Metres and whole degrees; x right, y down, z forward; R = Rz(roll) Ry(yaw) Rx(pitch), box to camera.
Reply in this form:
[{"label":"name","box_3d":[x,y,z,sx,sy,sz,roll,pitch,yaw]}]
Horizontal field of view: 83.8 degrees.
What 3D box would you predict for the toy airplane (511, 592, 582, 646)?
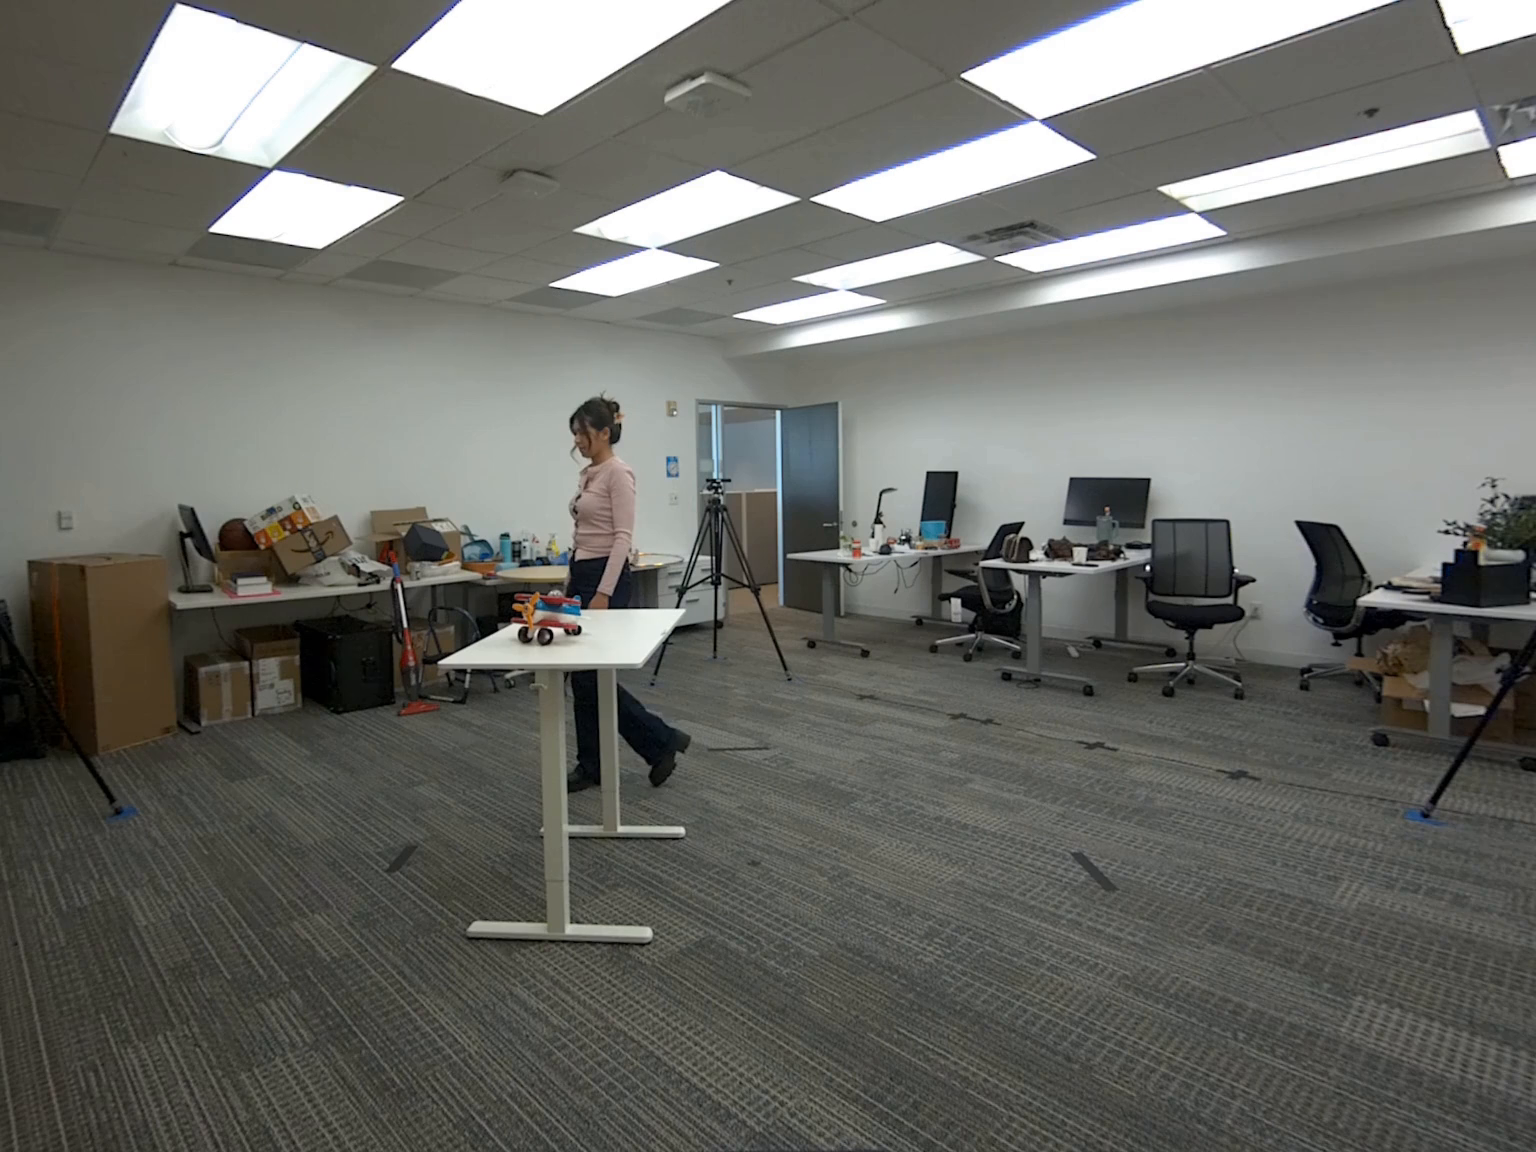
[{"label":"toy airplane","box_3d":[-0.723,0.133,2.817,0.252,0.155,0.260,-1,7,1]}]
